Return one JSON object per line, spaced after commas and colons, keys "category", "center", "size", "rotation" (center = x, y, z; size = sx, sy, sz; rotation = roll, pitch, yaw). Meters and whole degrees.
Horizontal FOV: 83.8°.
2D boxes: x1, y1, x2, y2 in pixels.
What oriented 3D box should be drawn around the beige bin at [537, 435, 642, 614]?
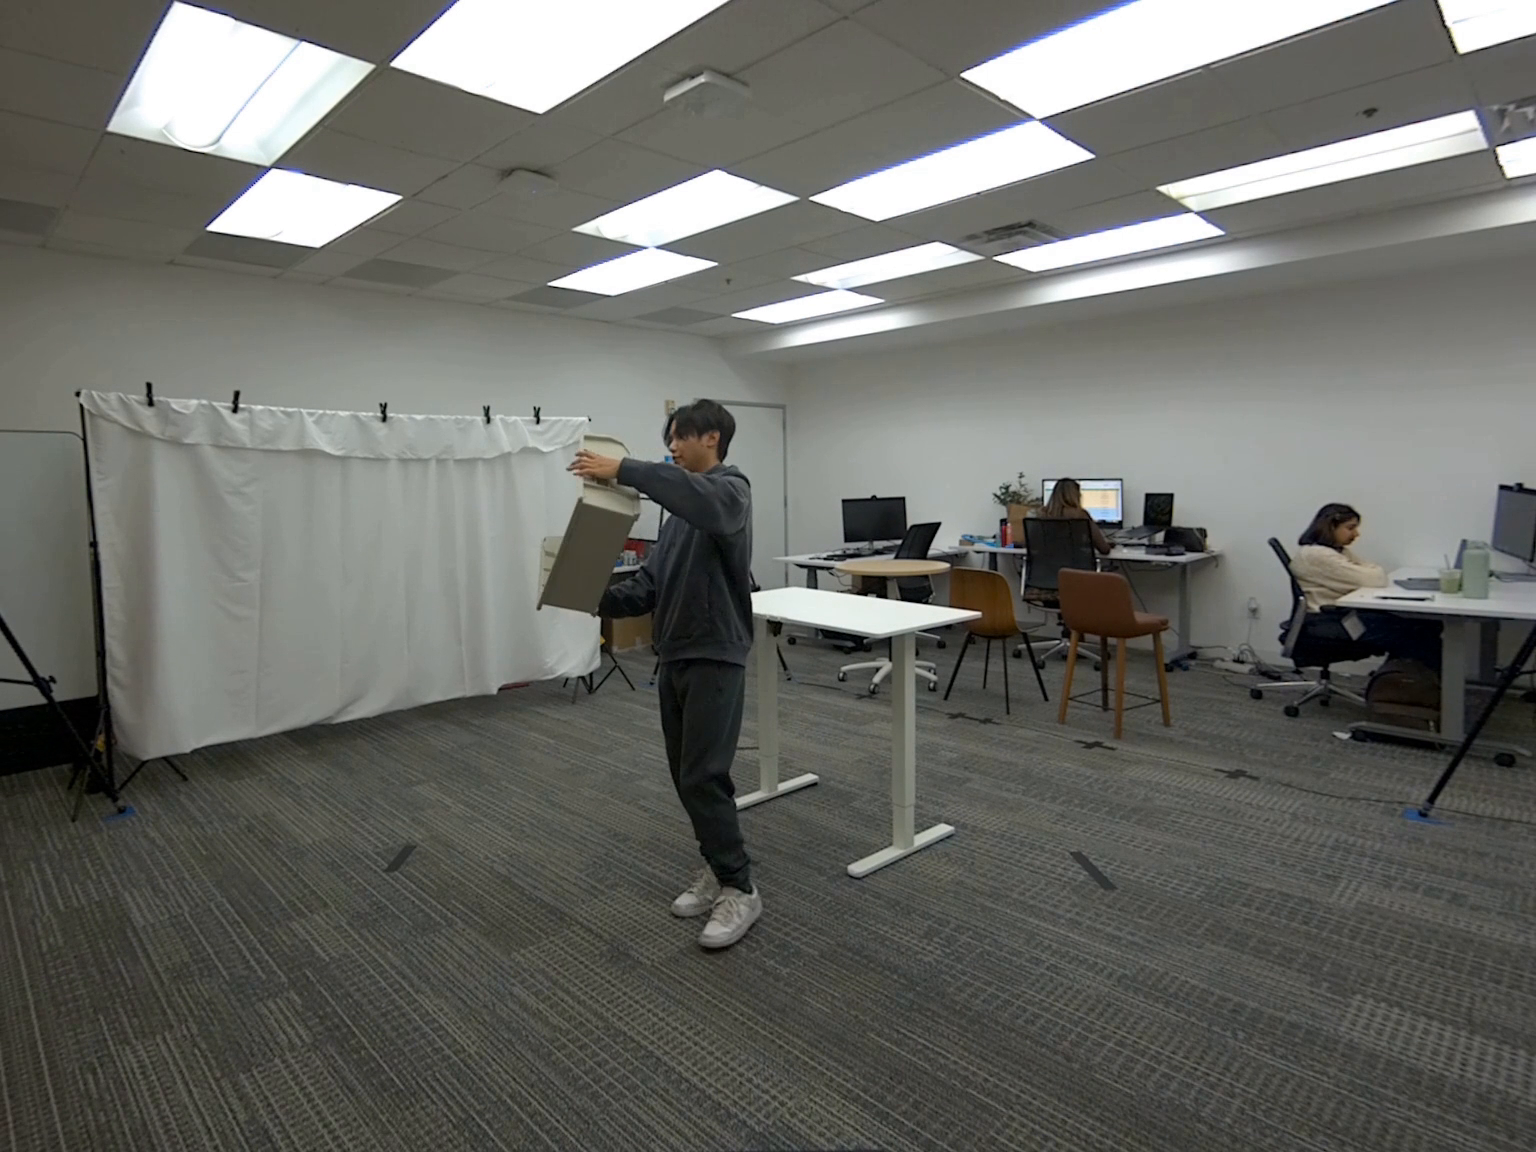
{"category": "beige bin", "center": [-0.540, -0.156, 2.570], "size": [0.184, 0.418, 0.390], "rotation": [15, 34, -23]}
